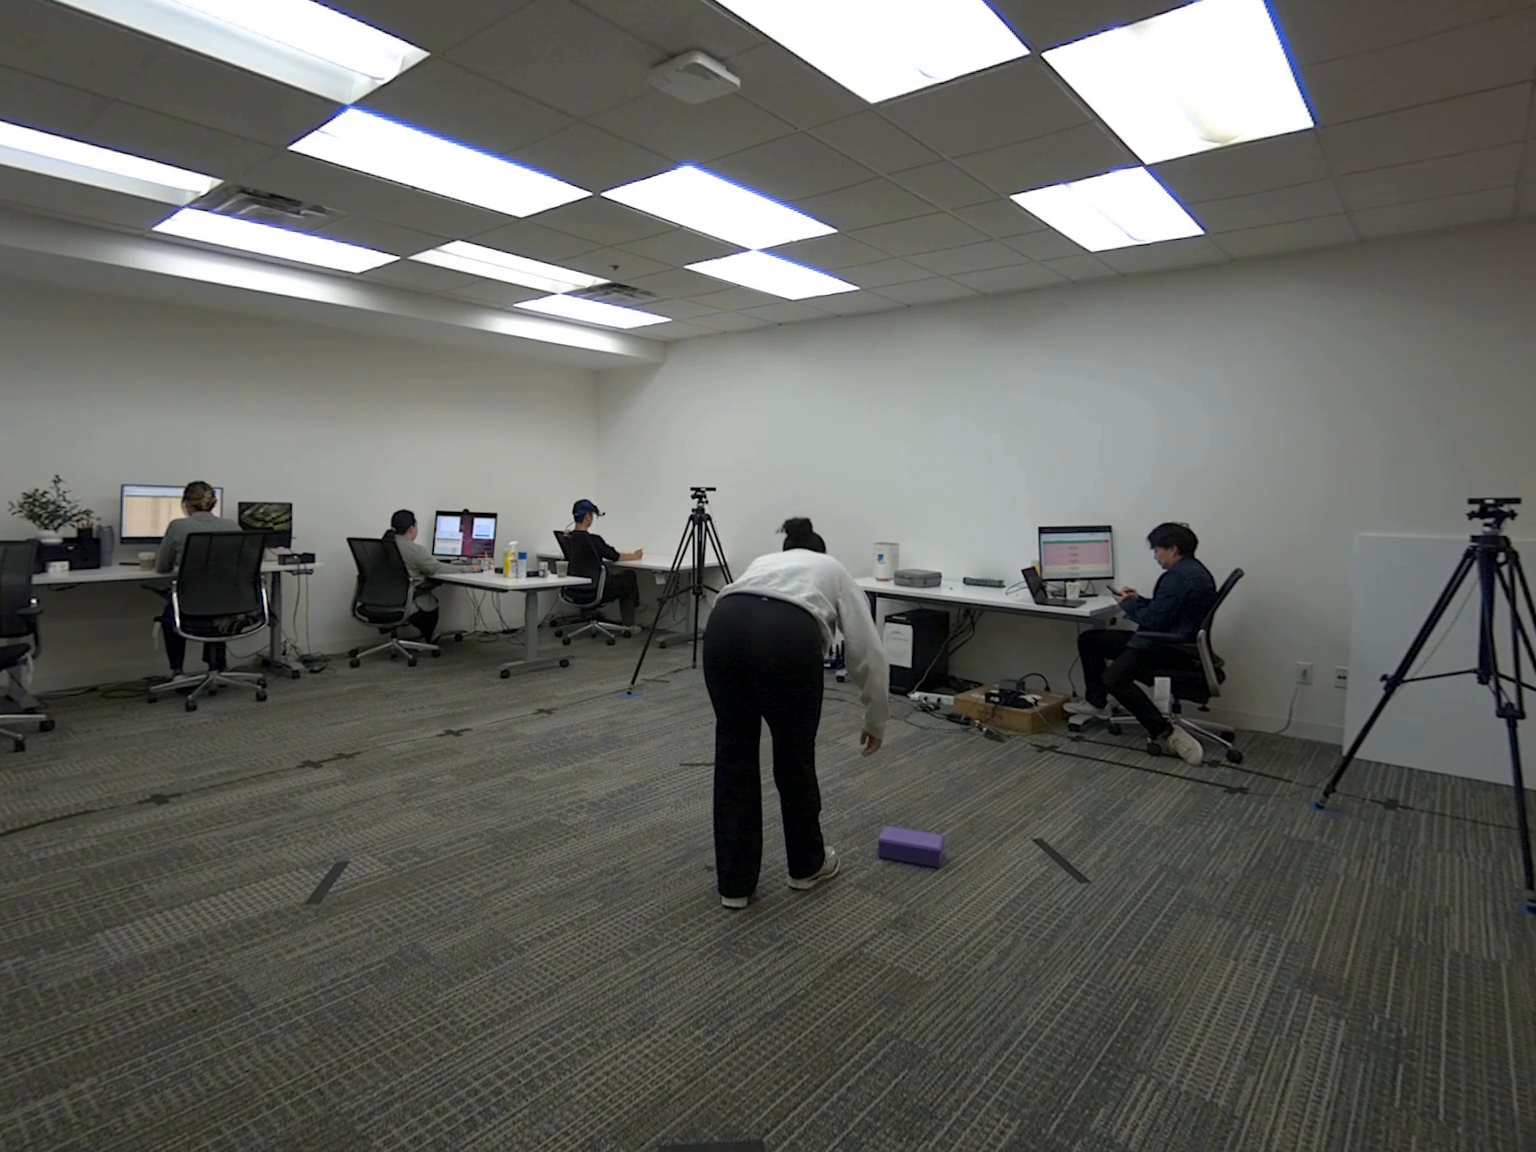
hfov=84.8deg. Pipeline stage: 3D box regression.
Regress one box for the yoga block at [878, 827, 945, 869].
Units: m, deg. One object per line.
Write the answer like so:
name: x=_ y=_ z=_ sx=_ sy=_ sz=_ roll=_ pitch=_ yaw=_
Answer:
yoga block: x=0.542 y=1.029 z=3.252 sx=0.234 sy=0.076 sz=0.146 roll=2 pitch=5 yaw=20
